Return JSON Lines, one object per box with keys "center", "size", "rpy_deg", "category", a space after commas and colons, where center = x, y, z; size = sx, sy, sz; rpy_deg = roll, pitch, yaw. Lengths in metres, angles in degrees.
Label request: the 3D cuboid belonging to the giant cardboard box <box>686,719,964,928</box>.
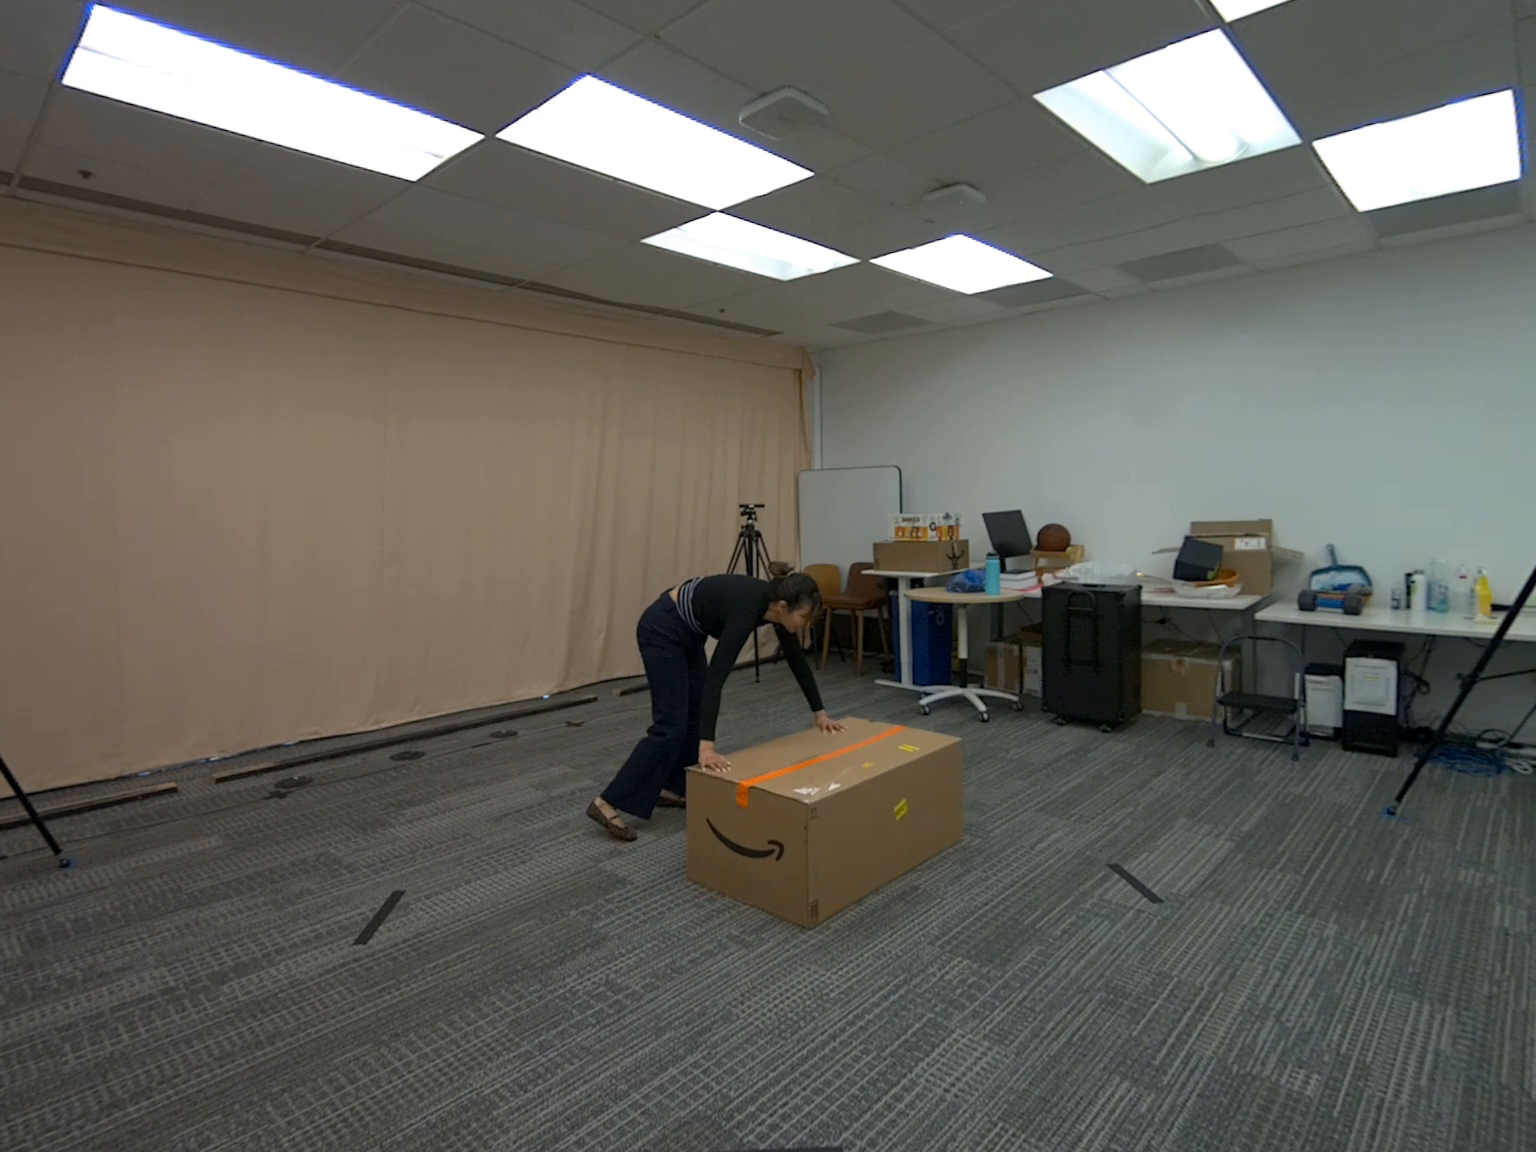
{"center": [0.254, 0.898, 3.289], "size": [0.596, 0.425, 0.995], "rpy_deg": [2, 5, 43], "category": "giant cardboard box"}
